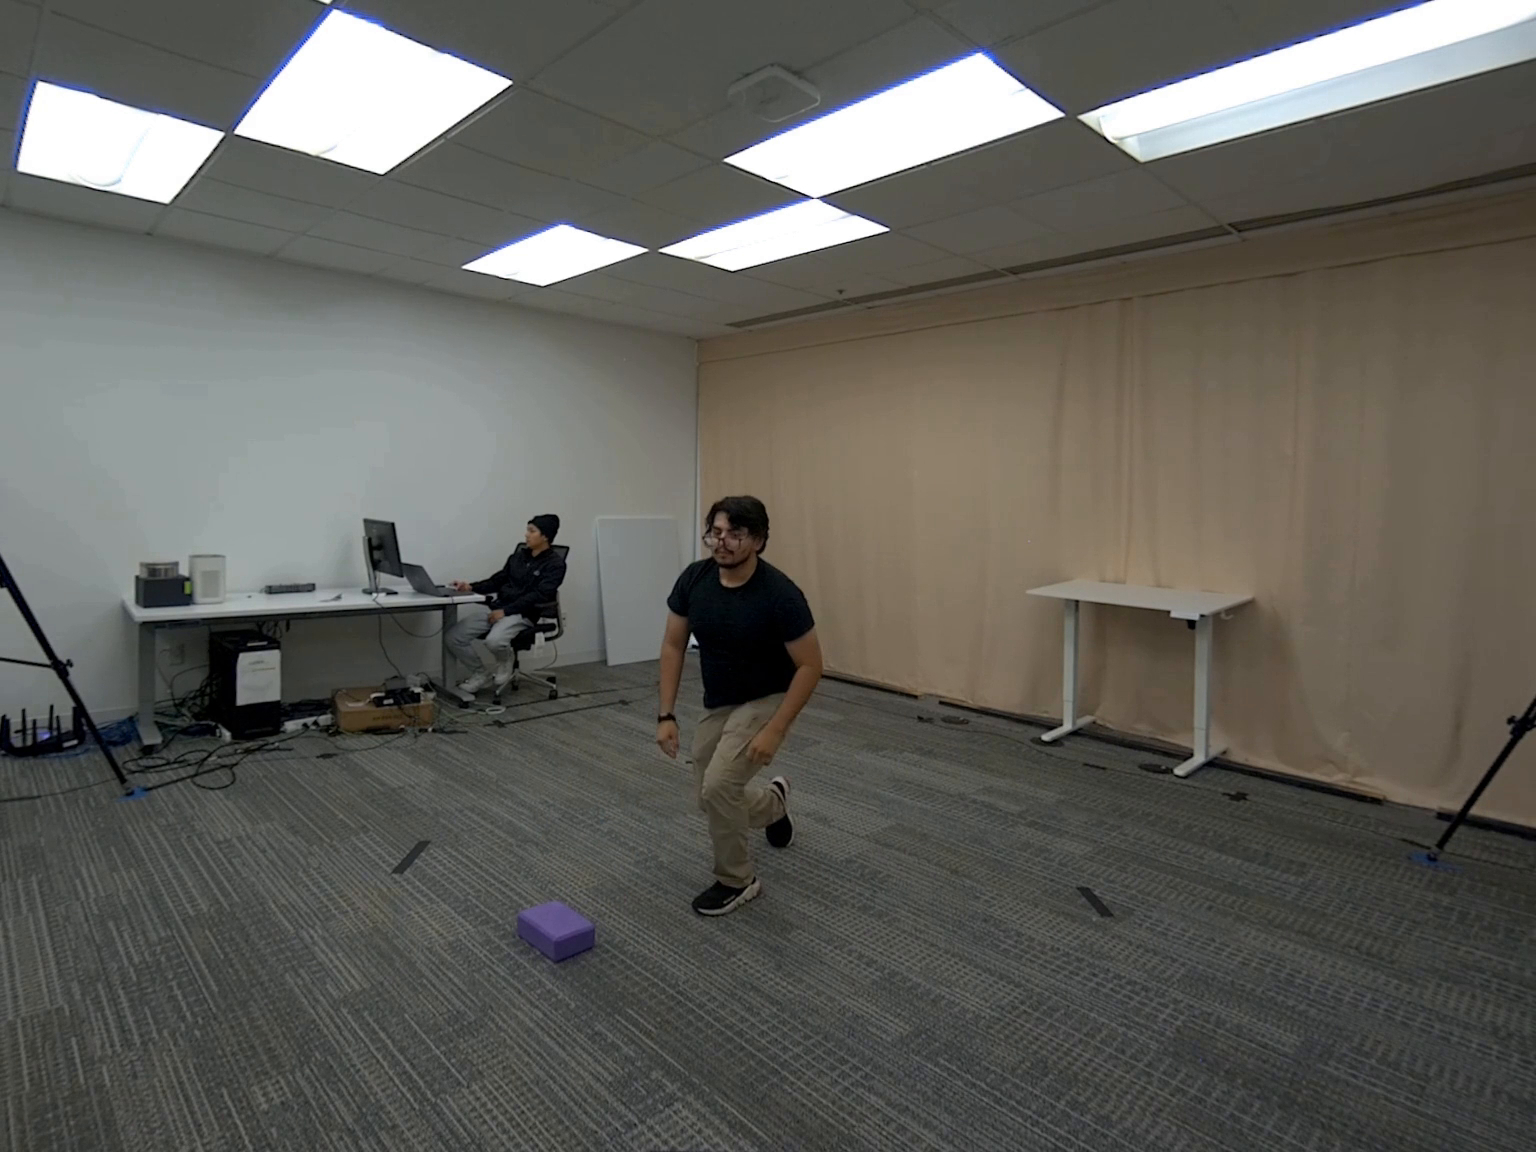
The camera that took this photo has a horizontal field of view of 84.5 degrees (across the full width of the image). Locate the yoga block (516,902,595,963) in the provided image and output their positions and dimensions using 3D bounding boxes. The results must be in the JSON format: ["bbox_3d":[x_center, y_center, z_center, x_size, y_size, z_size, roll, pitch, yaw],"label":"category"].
[{"bbox_3d":[-0.667,1.103,2.619,0.235,0.076,0.145,6,5,44],"label":"yoga block"}]
